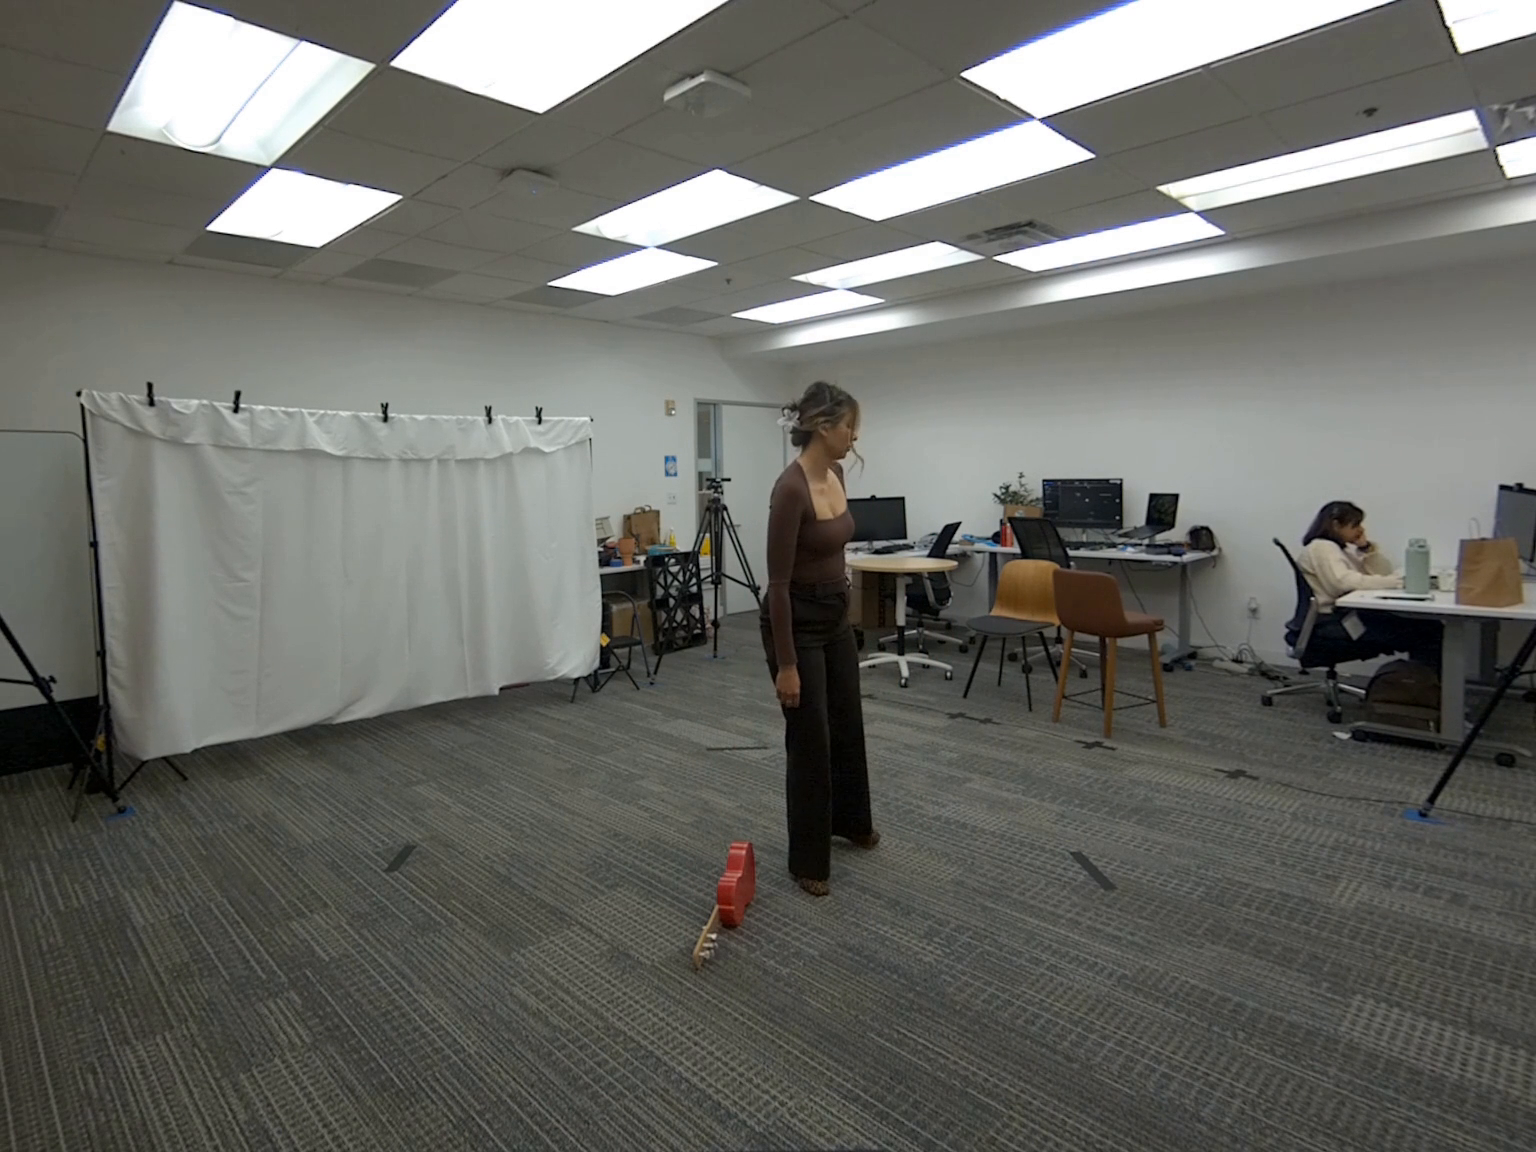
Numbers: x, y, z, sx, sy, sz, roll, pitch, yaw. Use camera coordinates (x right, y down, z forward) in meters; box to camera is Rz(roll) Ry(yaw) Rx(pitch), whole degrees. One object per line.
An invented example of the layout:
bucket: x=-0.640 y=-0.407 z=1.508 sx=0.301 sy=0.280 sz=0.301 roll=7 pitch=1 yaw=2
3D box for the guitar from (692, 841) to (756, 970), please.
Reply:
guitar: x=-0.127 y=1.046 z=2.663 sx=0.072 sy=0.189 sz=0.501 roll=0 pitch=24 yaw=14
